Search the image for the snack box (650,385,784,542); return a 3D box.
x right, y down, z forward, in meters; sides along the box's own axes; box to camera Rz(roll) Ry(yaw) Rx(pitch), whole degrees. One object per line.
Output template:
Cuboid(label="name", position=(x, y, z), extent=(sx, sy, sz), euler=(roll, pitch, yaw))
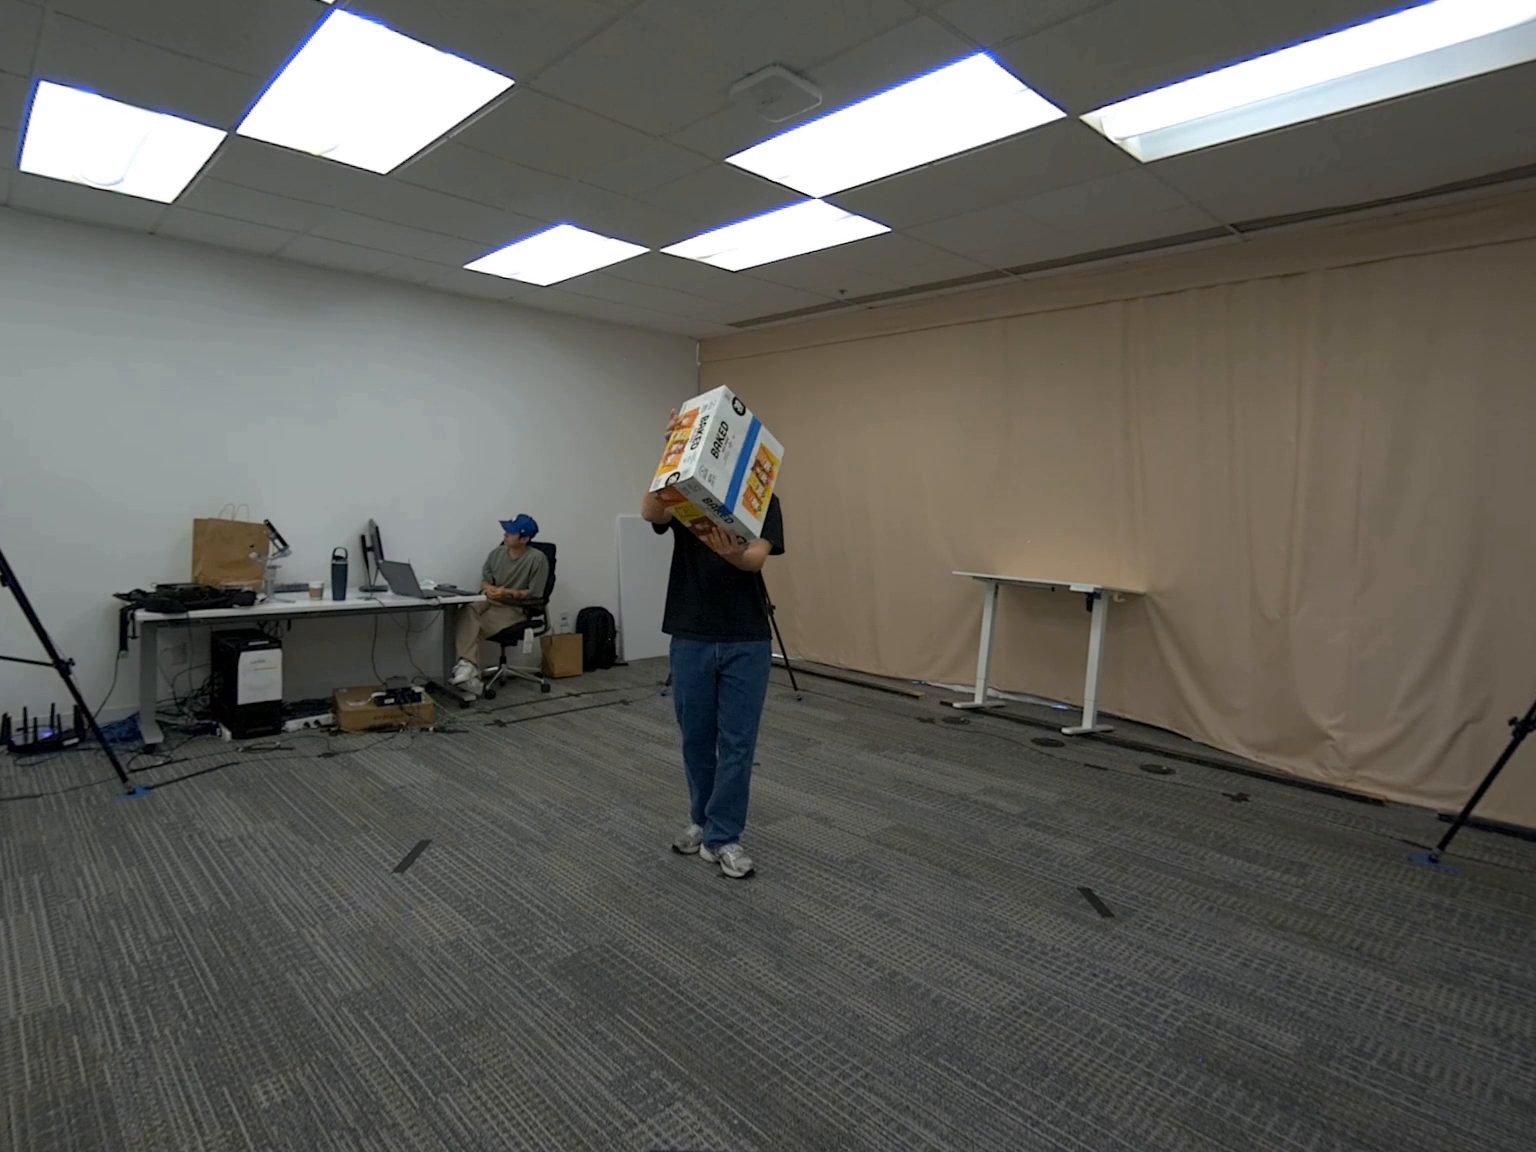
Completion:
Cuboid(label="snack box", position=(-0.169, -0.352, 2.834), extent=(0.209, 0.410, 0.330), euler=(-14, -43, 38))
